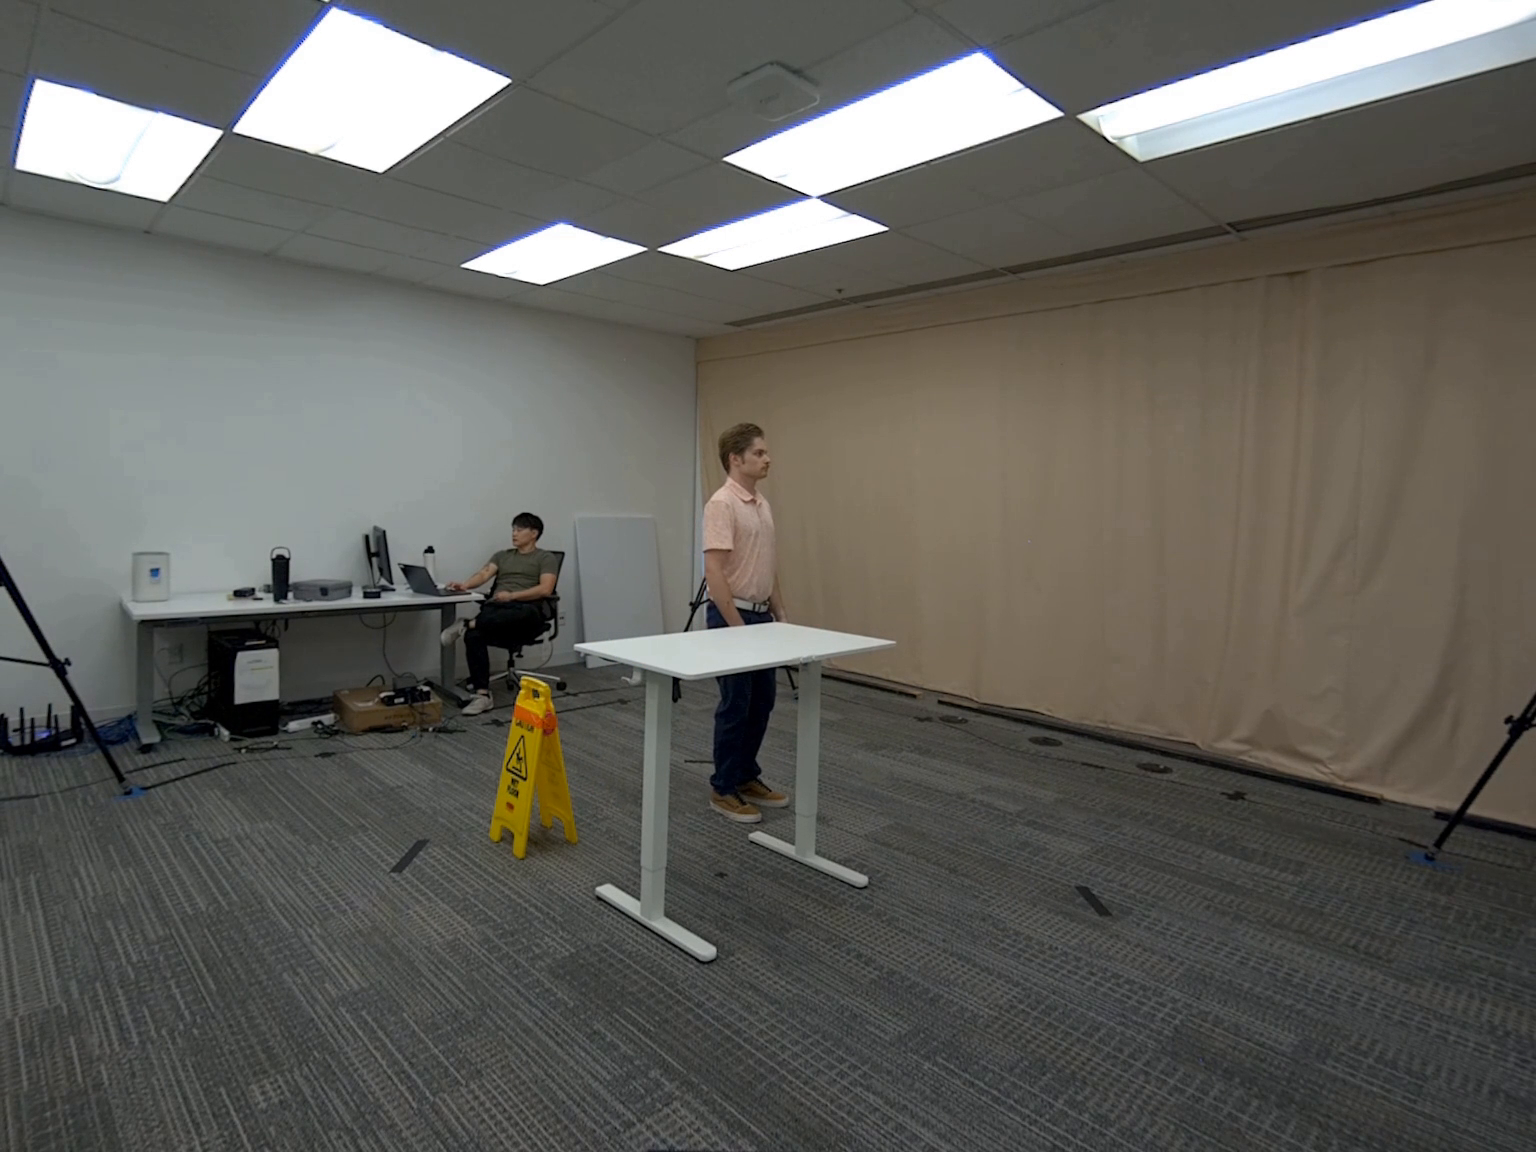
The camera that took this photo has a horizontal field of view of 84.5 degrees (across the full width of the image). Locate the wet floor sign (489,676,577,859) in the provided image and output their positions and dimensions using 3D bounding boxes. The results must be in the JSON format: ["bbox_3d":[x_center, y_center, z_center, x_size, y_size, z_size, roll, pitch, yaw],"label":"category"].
[{"bbox_3d":[-0.938,0.740,3.367,0.283,0.644,0.289,-1,5,-44],"label":"wet floor sign"}]
